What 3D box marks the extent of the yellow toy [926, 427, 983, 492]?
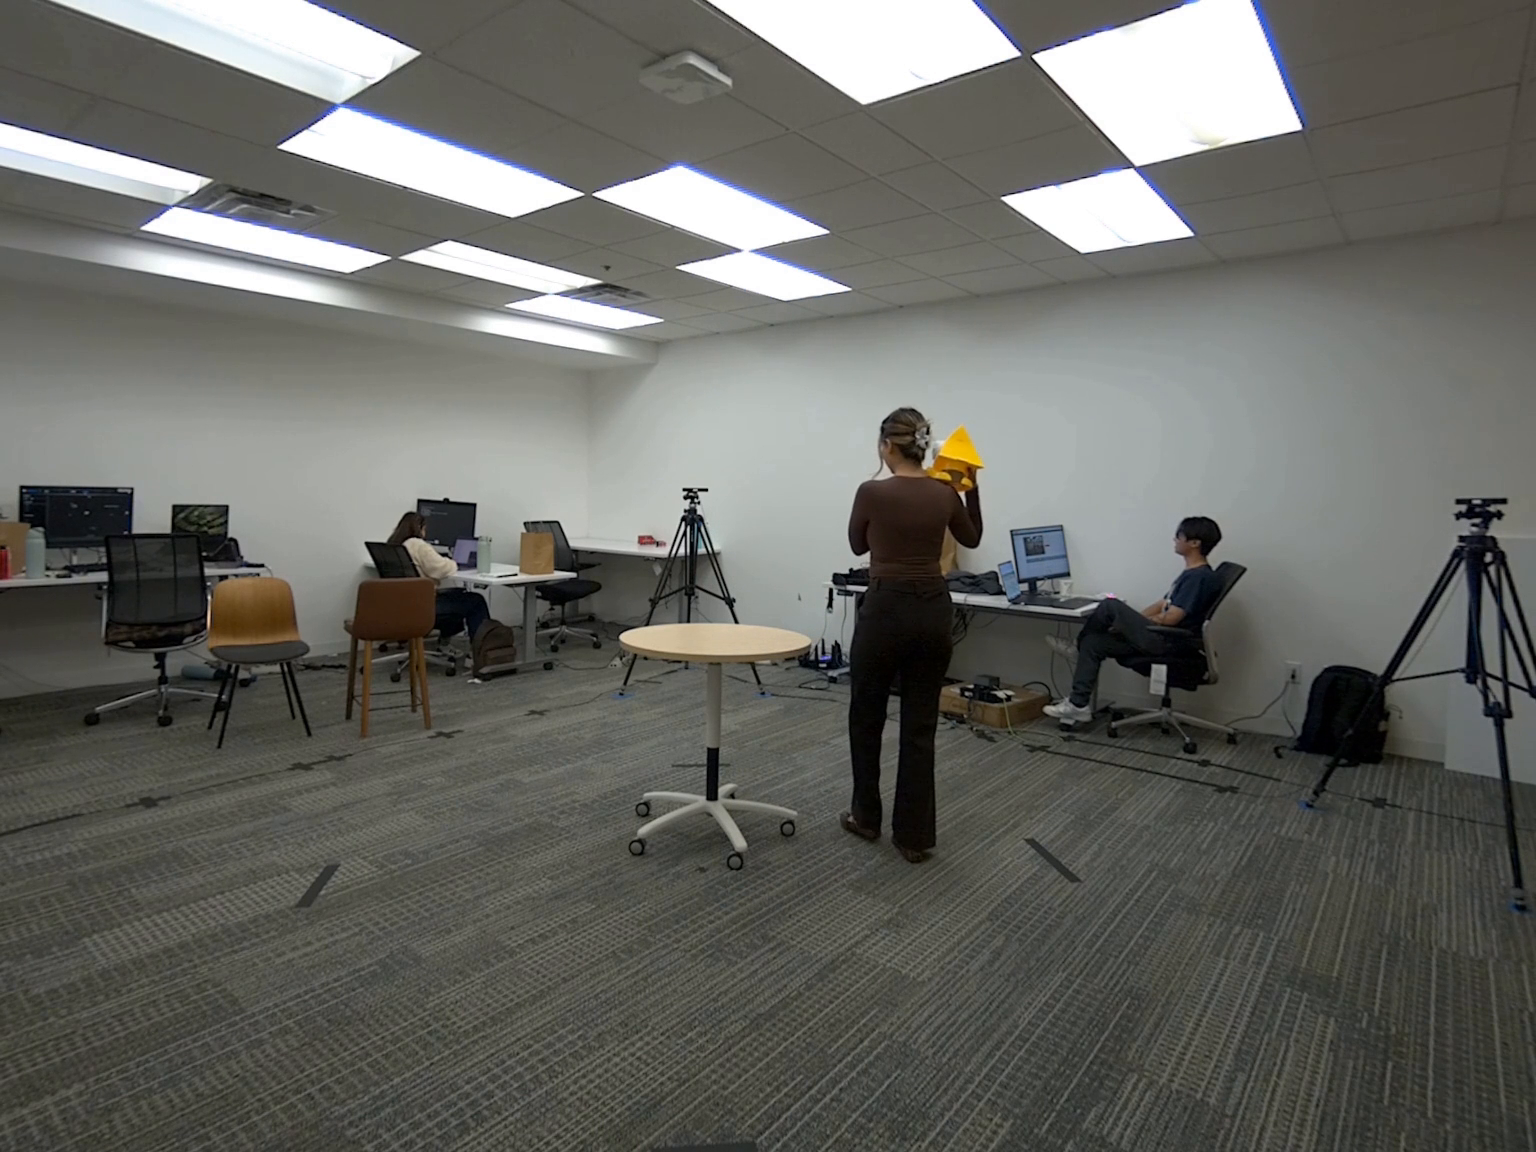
[{"bbox_3d":[0.701,-0.469,3.323,0.200,0.232,0.196,12,-10,-20],"label":"yellow toy"}]
